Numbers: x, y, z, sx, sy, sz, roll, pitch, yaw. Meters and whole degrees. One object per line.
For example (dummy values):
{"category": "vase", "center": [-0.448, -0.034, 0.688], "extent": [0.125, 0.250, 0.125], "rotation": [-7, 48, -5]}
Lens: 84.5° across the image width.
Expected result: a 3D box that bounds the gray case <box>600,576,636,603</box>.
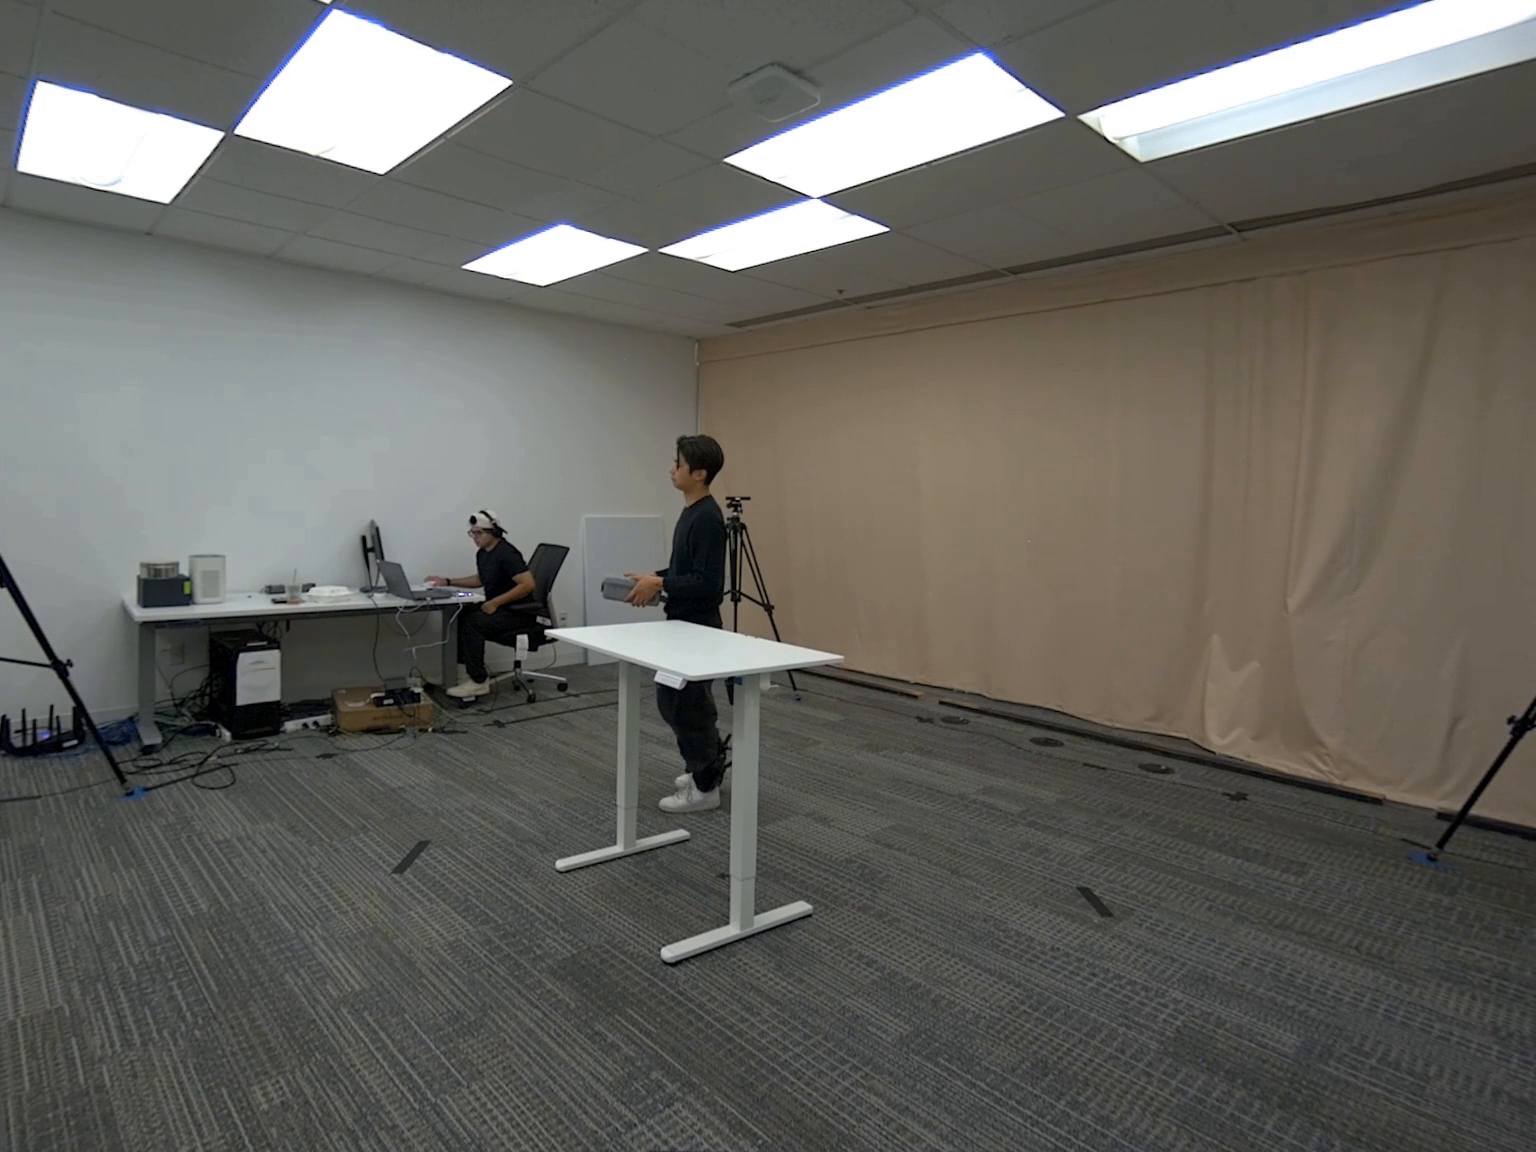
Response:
{"category": "gray case", "center": [-0.594, 0.060, 3.700], "extent": [0.259, 0.104, 0.258], "rotation": [9, 0, -7]}
